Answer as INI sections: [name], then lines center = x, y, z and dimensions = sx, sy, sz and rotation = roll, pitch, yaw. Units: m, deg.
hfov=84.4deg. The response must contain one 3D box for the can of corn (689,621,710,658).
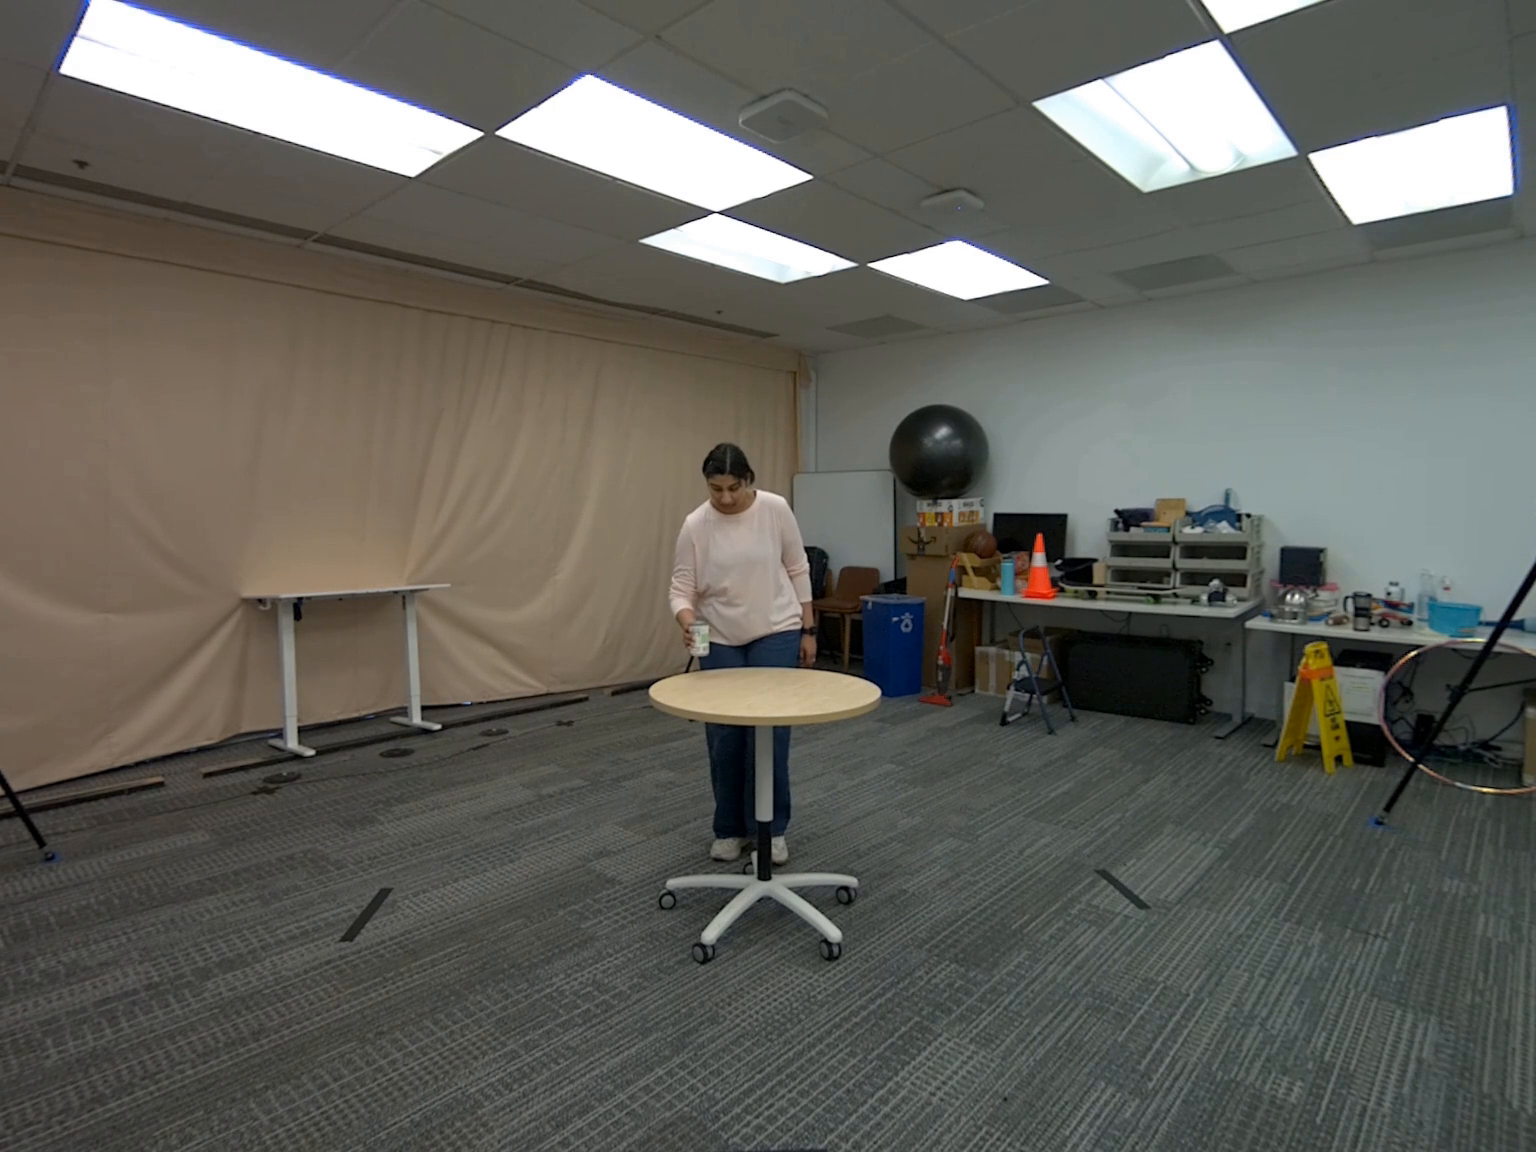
[can of corn]
center = -0.249, 0.226, 3.016
dimensions = 0.074, 0.111, 0.074
rotation = 0, 3, -2
